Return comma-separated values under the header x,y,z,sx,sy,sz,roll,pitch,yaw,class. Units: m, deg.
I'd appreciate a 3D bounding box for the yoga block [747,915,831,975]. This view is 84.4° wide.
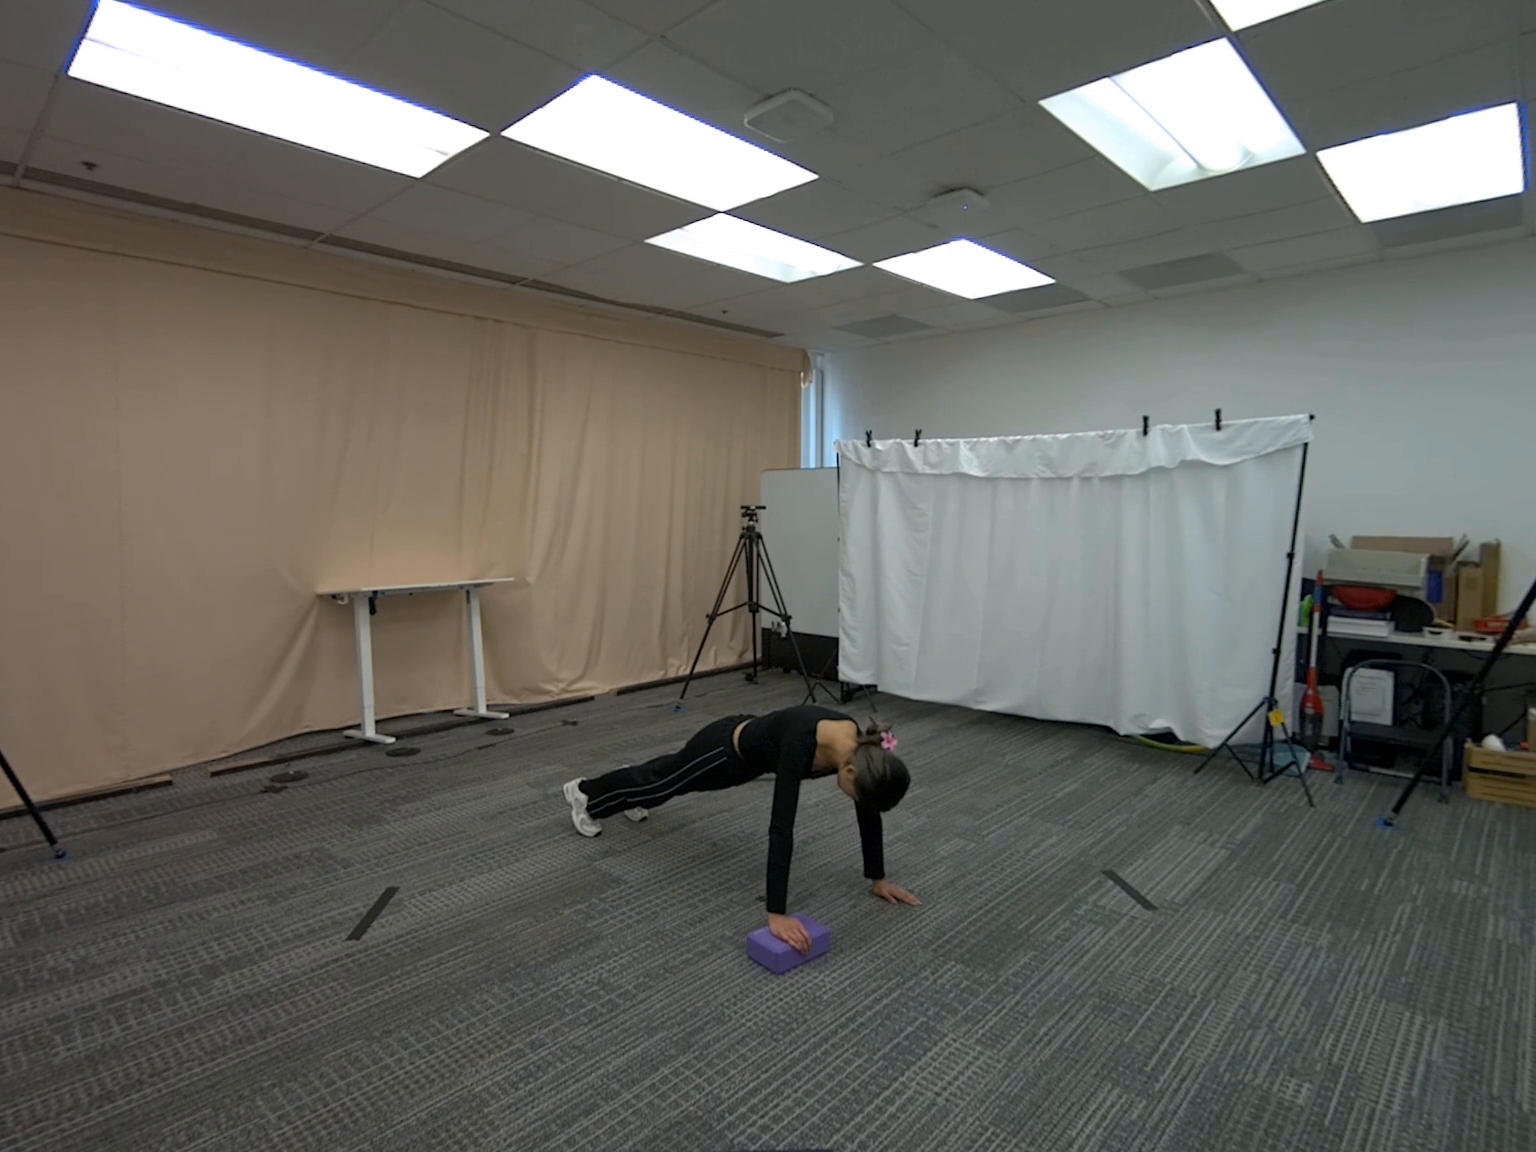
x,y,z,sx,sy,sz,roll,pitch,yaw,class
0.069,1.138,2.615,0.223,0.076,0.154,-6,7,-39,yoga block
